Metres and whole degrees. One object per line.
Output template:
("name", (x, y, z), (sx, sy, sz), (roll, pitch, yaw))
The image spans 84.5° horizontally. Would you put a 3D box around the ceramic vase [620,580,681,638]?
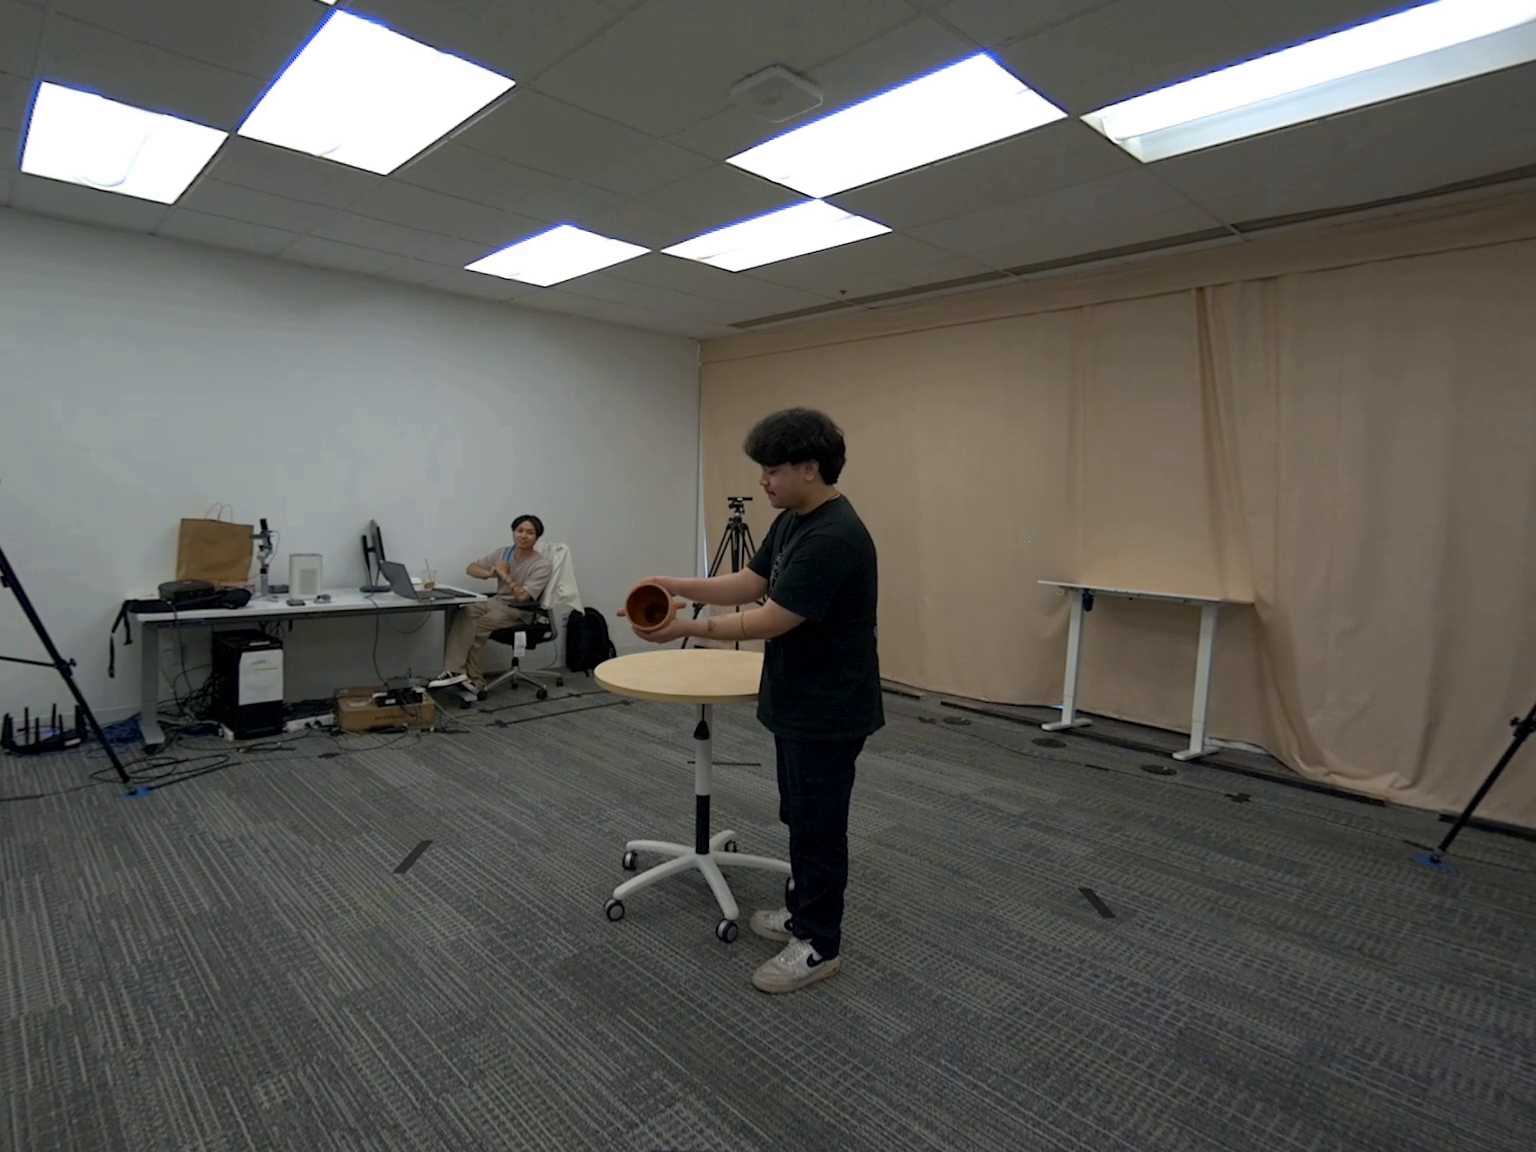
("ceramic vase", (-0.323, 0.107, 2.400), (0.160, 0.135, 0.217), (31, -10, 9))
